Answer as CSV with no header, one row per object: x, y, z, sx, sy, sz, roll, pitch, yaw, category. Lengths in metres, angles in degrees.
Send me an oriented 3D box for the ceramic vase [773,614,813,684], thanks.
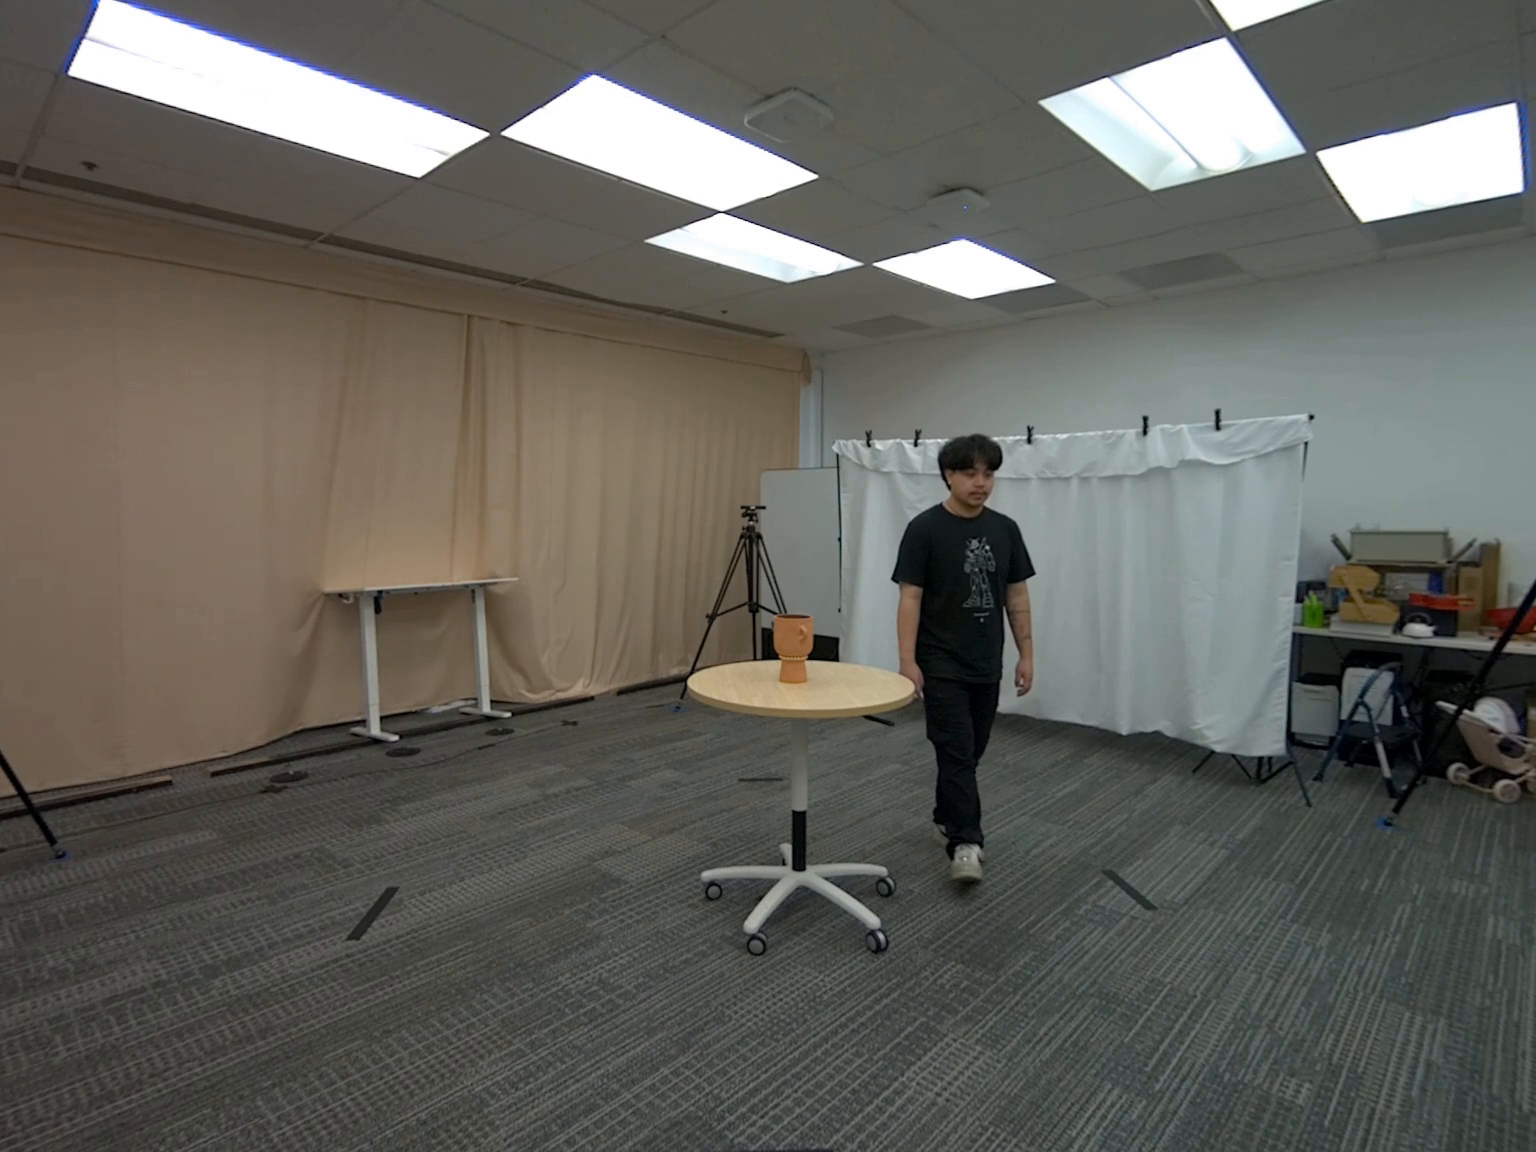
0.093,0.249,2.875,0.137,0.219,0.156,2,4,16,ceramic vase
